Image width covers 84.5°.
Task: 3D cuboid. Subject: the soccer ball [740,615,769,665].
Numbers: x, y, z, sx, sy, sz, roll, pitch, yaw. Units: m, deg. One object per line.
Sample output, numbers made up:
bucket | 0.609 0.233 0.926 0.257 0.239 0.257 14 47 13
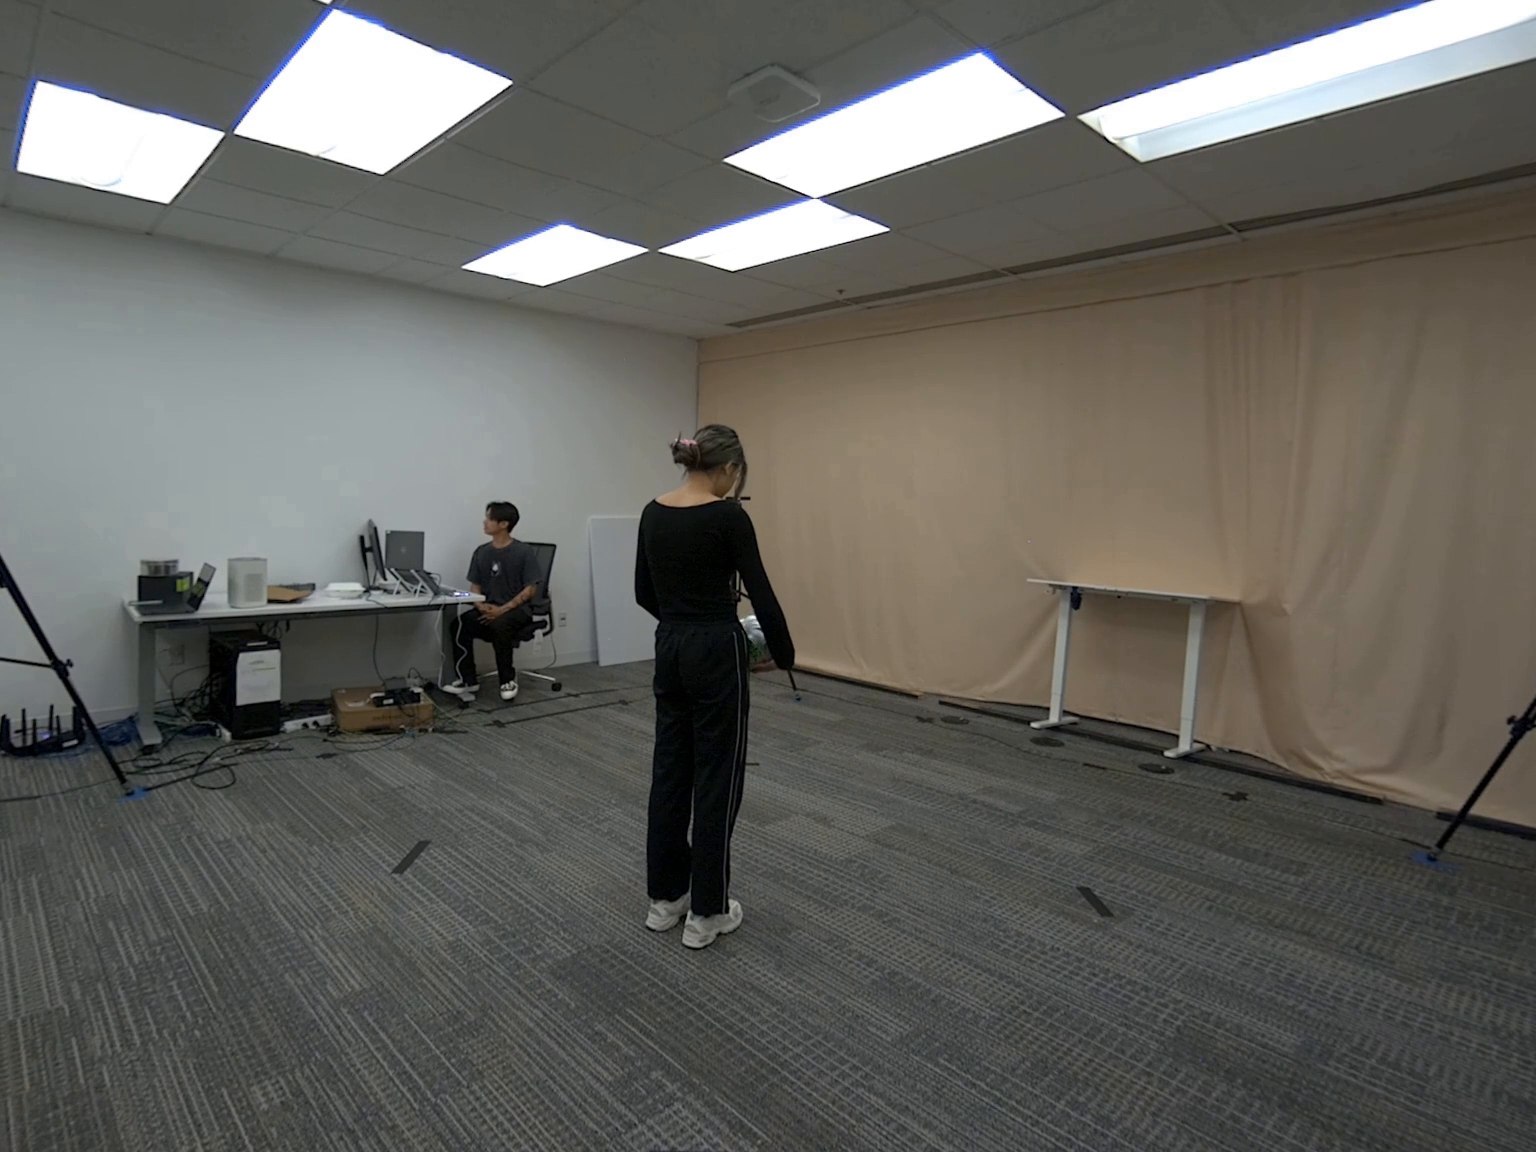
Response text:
soccer ball | -0.058 0.226 2.847 0.187 0.187 0.188 1 4 -1
